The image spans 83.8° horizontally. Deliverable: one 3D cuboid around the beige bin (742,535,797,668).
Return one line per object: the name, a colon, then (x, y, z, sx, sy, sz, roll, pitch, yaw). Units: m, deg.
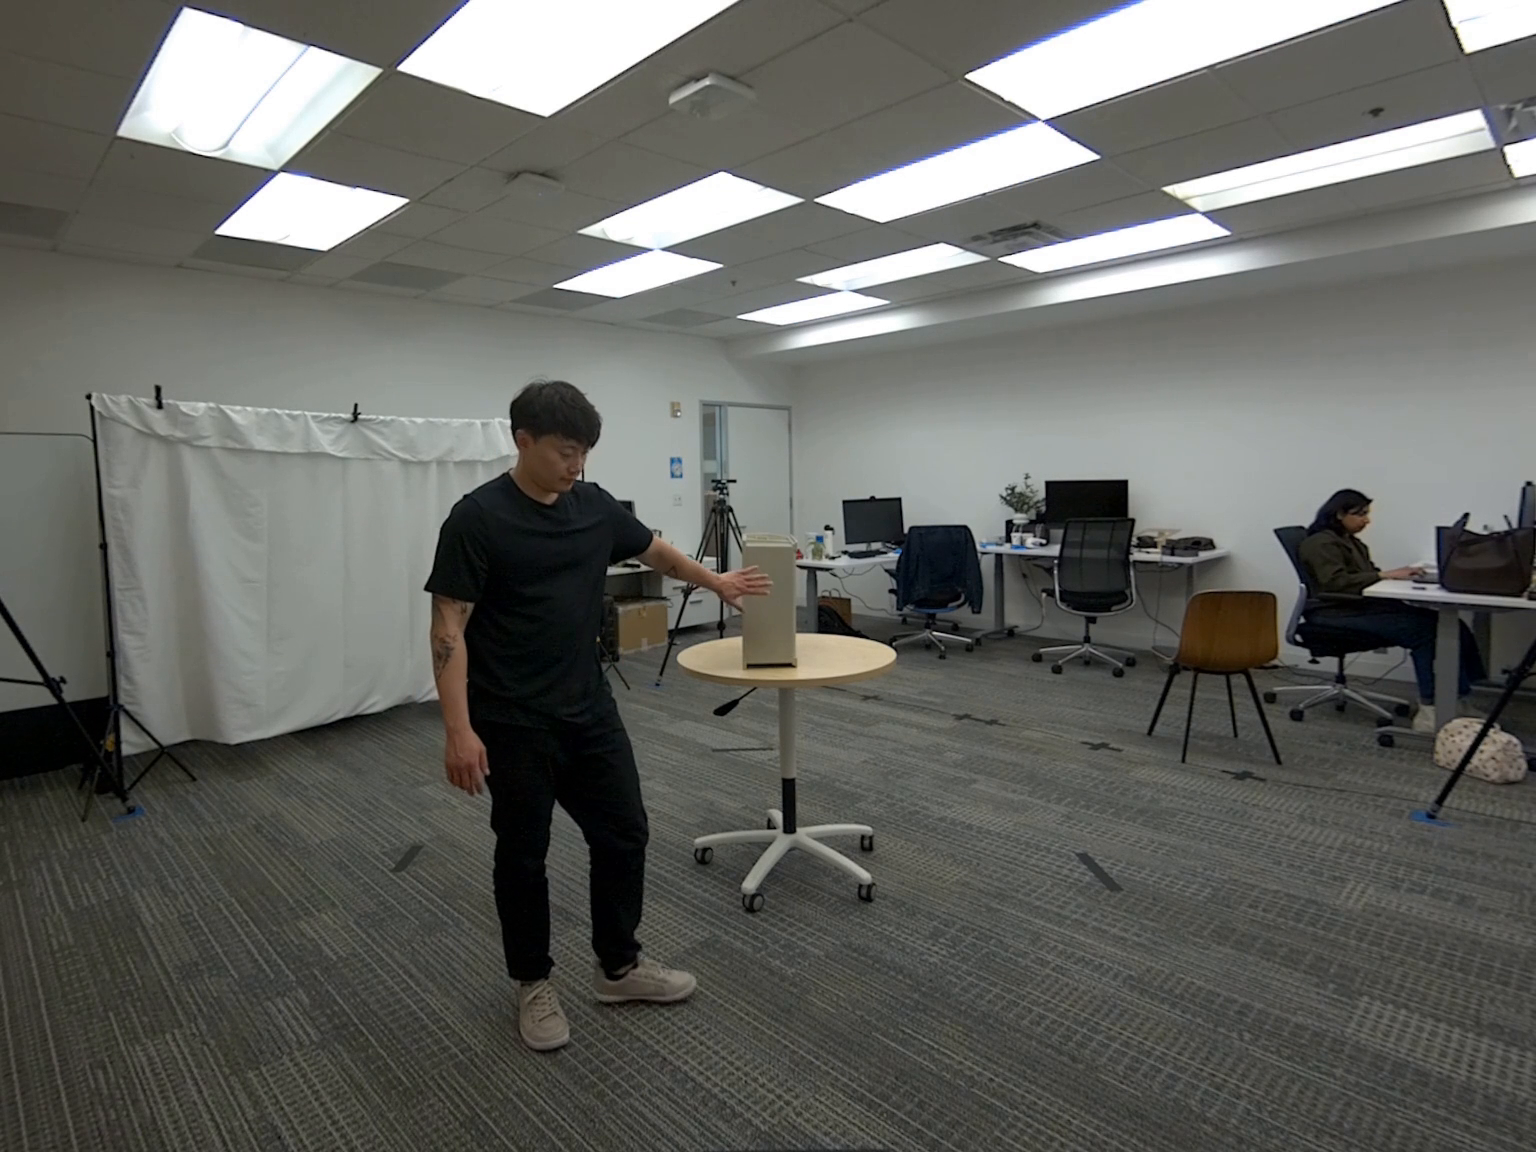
beige bin: (-0.006, 0.072, 2.946, 0.189, 0.421, 0.378, 0, 5, 0)
